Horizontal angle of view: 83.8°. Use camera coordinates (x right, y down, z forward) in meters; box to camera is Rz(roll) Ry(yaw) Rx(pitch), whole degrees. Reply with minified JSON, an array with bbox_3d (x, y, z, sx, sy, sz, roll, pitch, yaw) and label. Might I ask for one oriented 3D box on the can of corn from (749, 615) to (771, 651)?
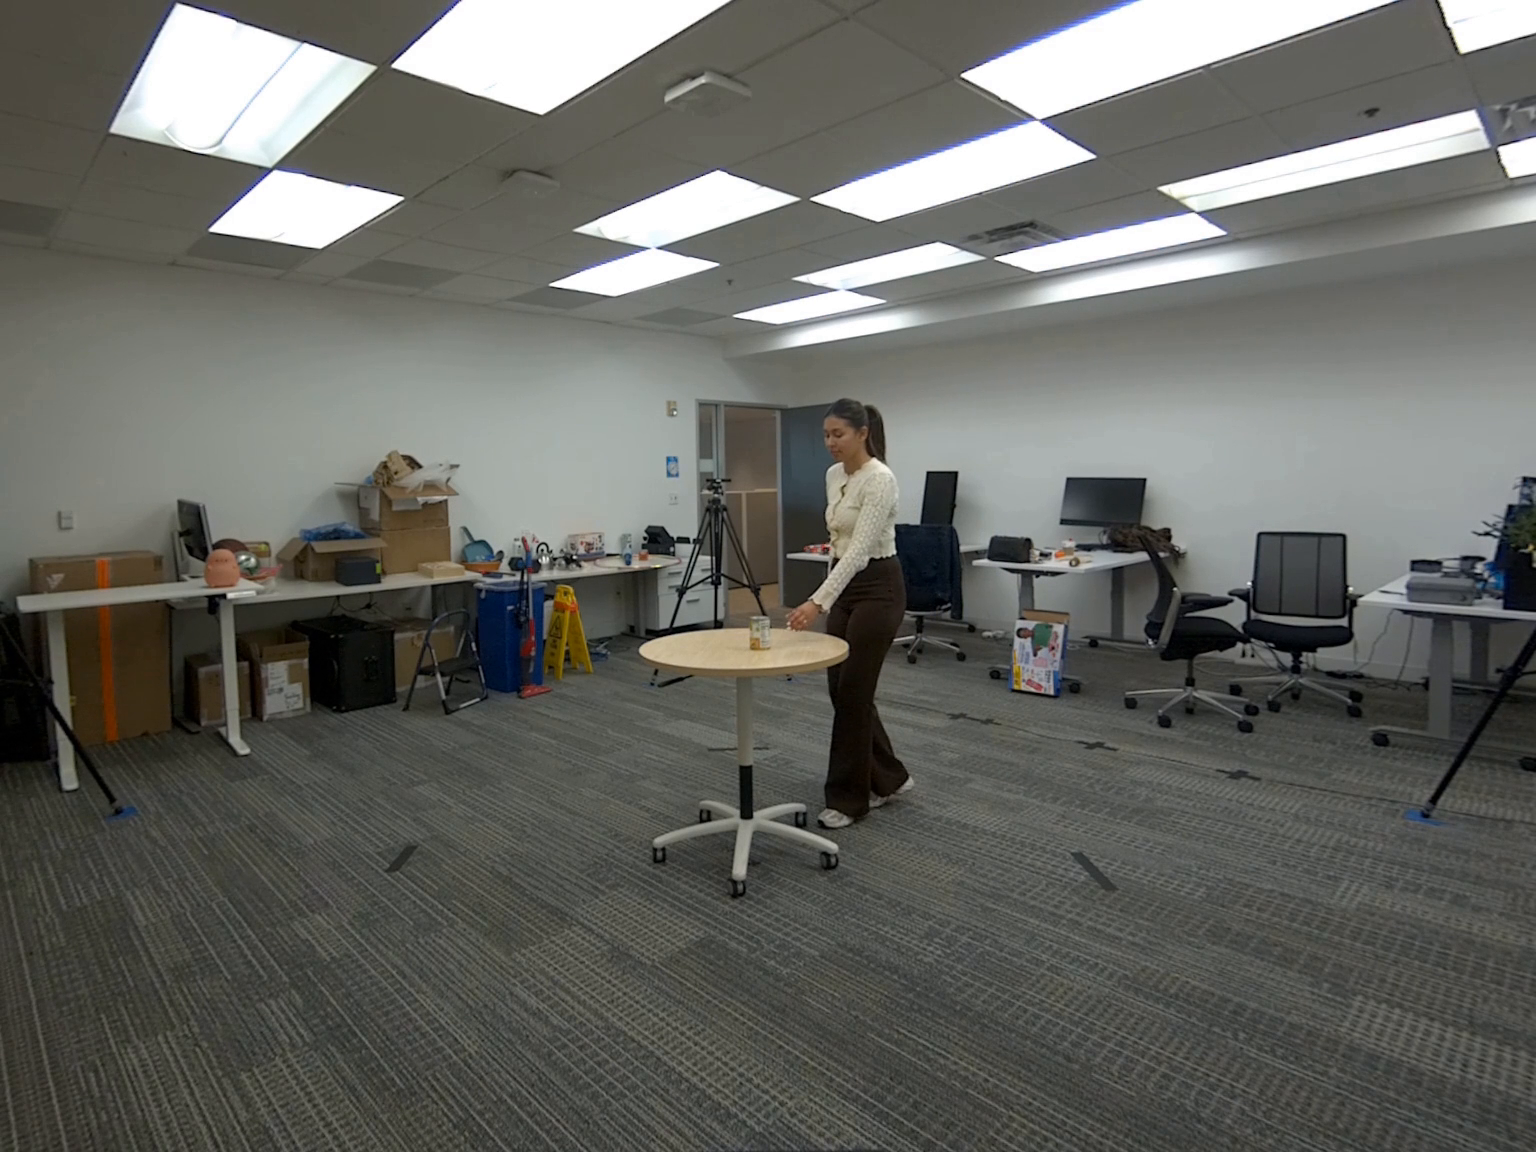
[{"bbox_3d":[-0.025,0.206,3.078,0.074,0.110,0.074,-1,5,-2],"label":"can of corn"}]
